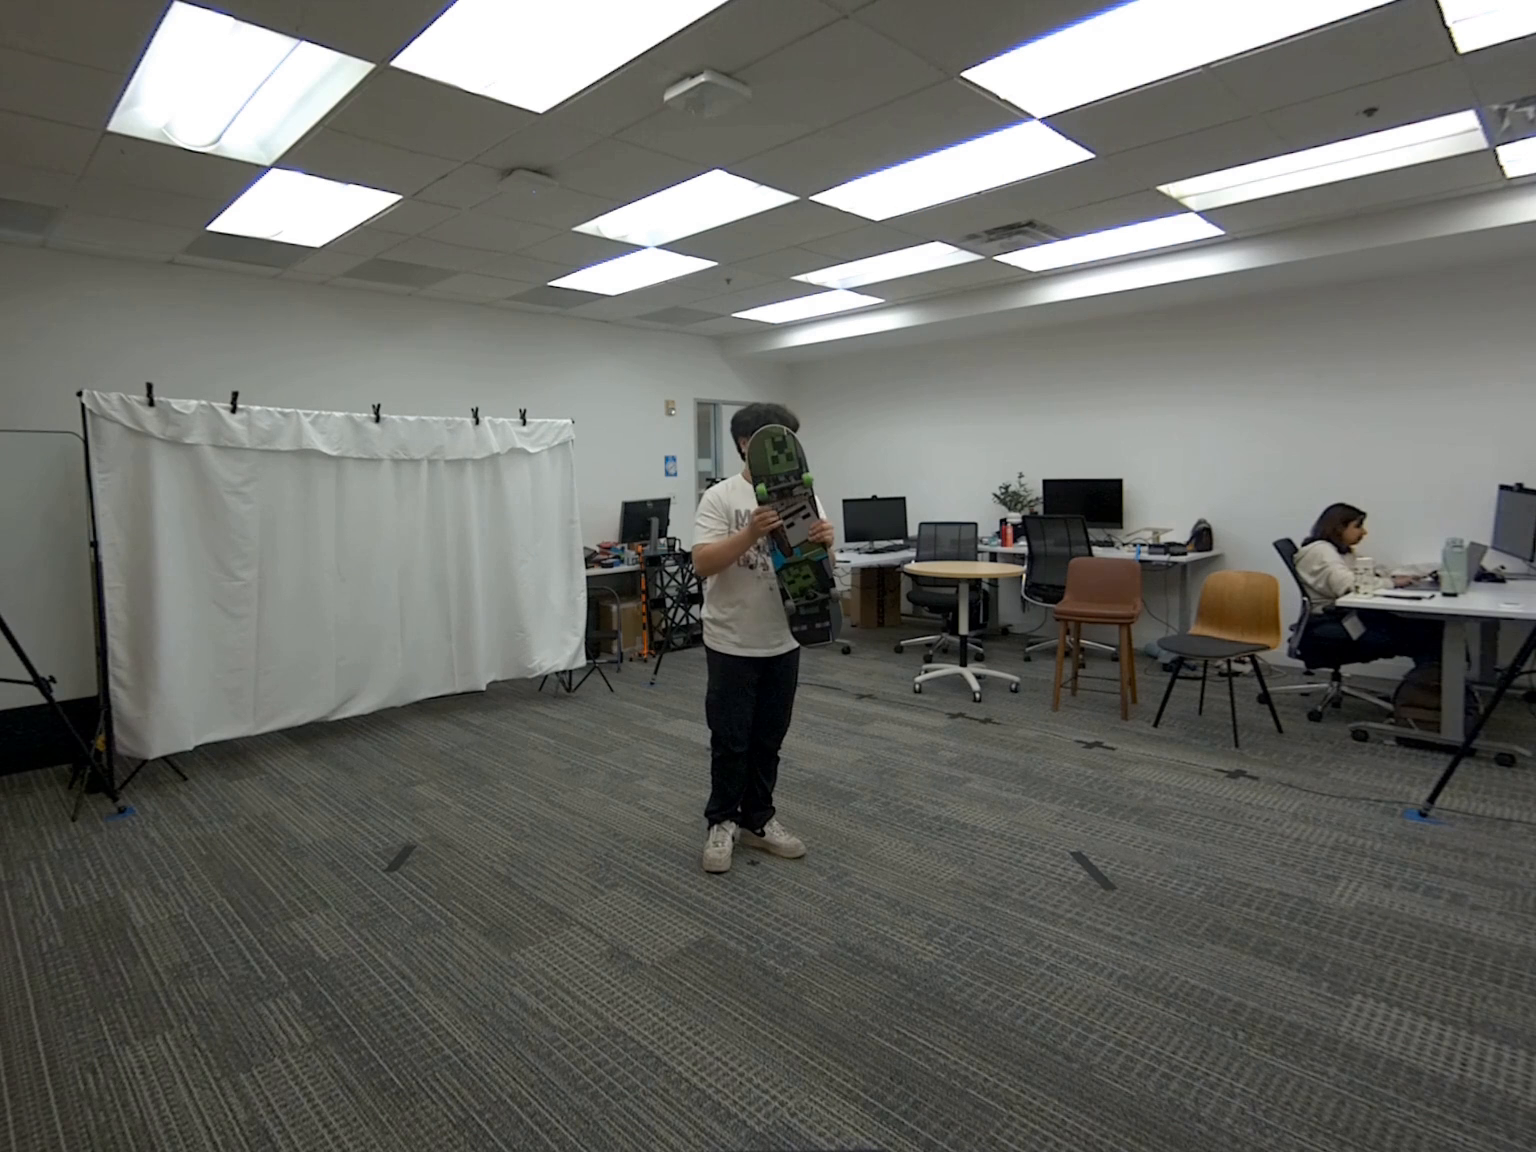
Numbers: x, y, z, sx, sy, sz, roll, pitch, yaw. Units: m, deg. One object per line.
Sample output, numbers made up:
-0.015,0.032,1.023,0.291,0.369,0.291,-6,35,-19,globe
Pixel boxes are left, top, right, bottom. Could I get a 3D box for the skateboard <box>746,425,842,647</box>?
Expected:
0.096,-0.098,2.831,0.194,0.774,0.111,-14,12,3,skateboard
